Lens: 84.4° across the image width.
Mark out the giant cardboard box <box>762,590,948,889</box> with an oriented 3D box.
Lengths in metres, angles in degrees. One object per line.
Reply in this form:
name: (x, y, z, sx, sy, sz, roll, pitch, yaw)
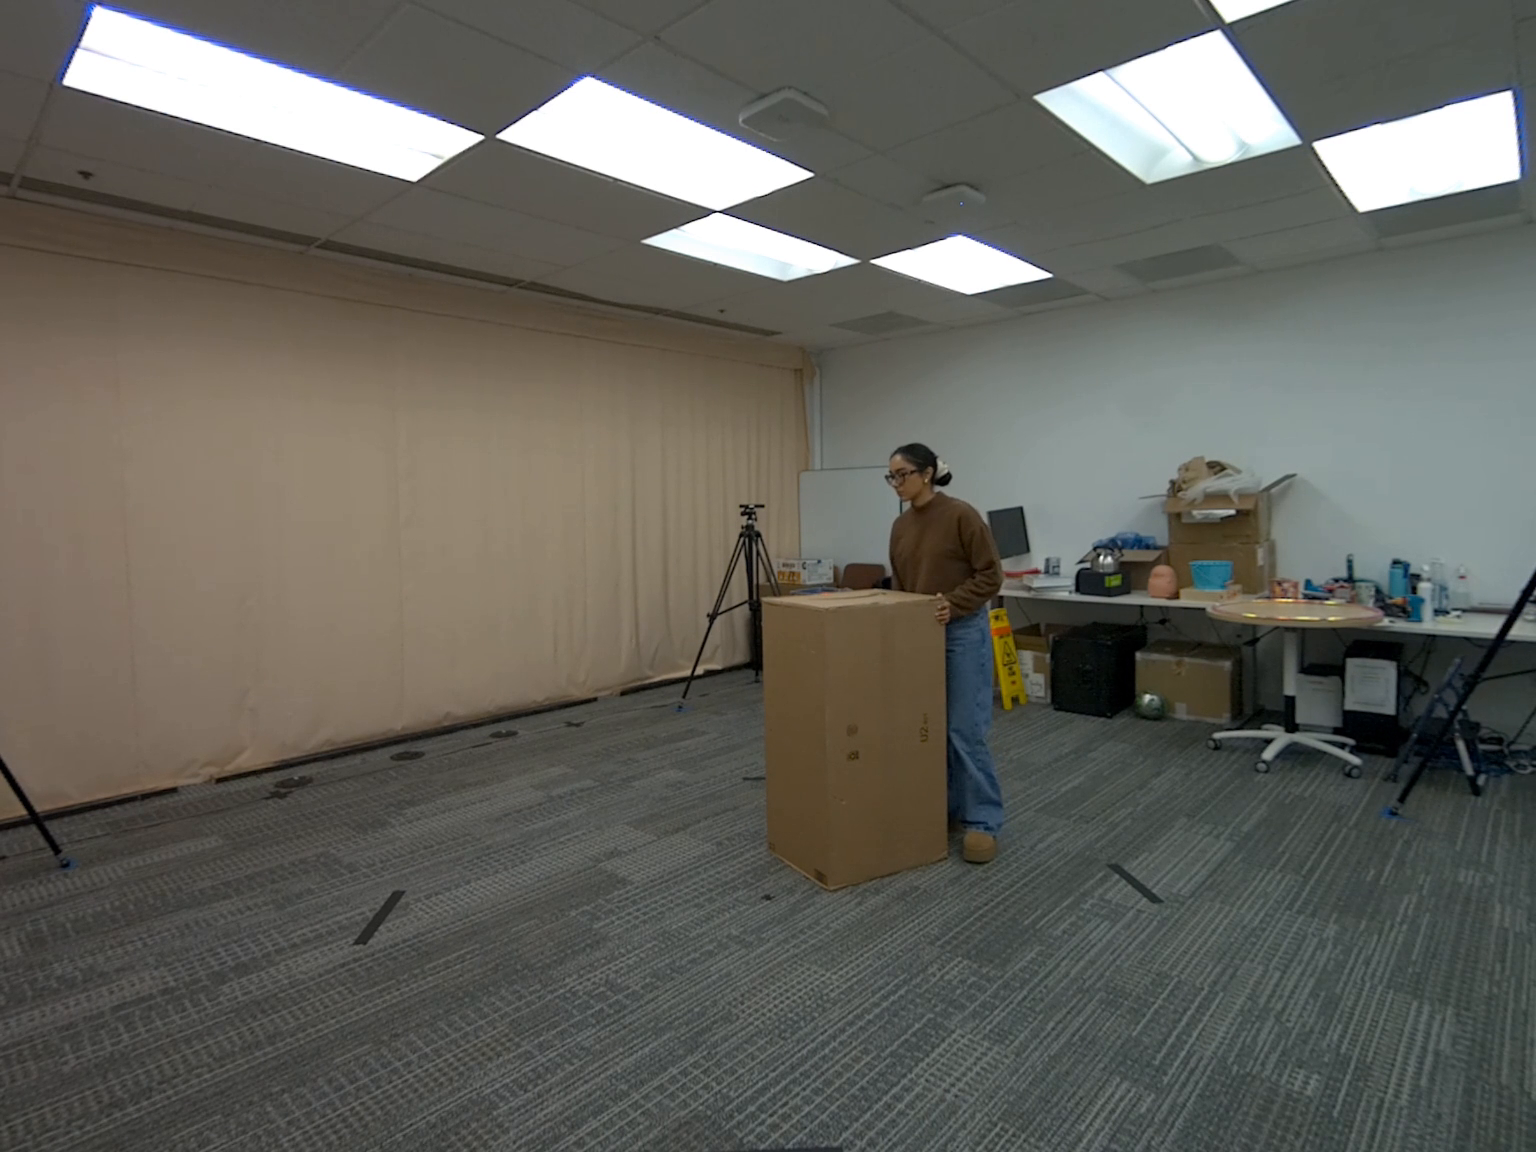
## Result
giant cardboard box: (0.337, 0.597, 3.306, 0.562, 1.024, 0.439, -3, 4, -31)
